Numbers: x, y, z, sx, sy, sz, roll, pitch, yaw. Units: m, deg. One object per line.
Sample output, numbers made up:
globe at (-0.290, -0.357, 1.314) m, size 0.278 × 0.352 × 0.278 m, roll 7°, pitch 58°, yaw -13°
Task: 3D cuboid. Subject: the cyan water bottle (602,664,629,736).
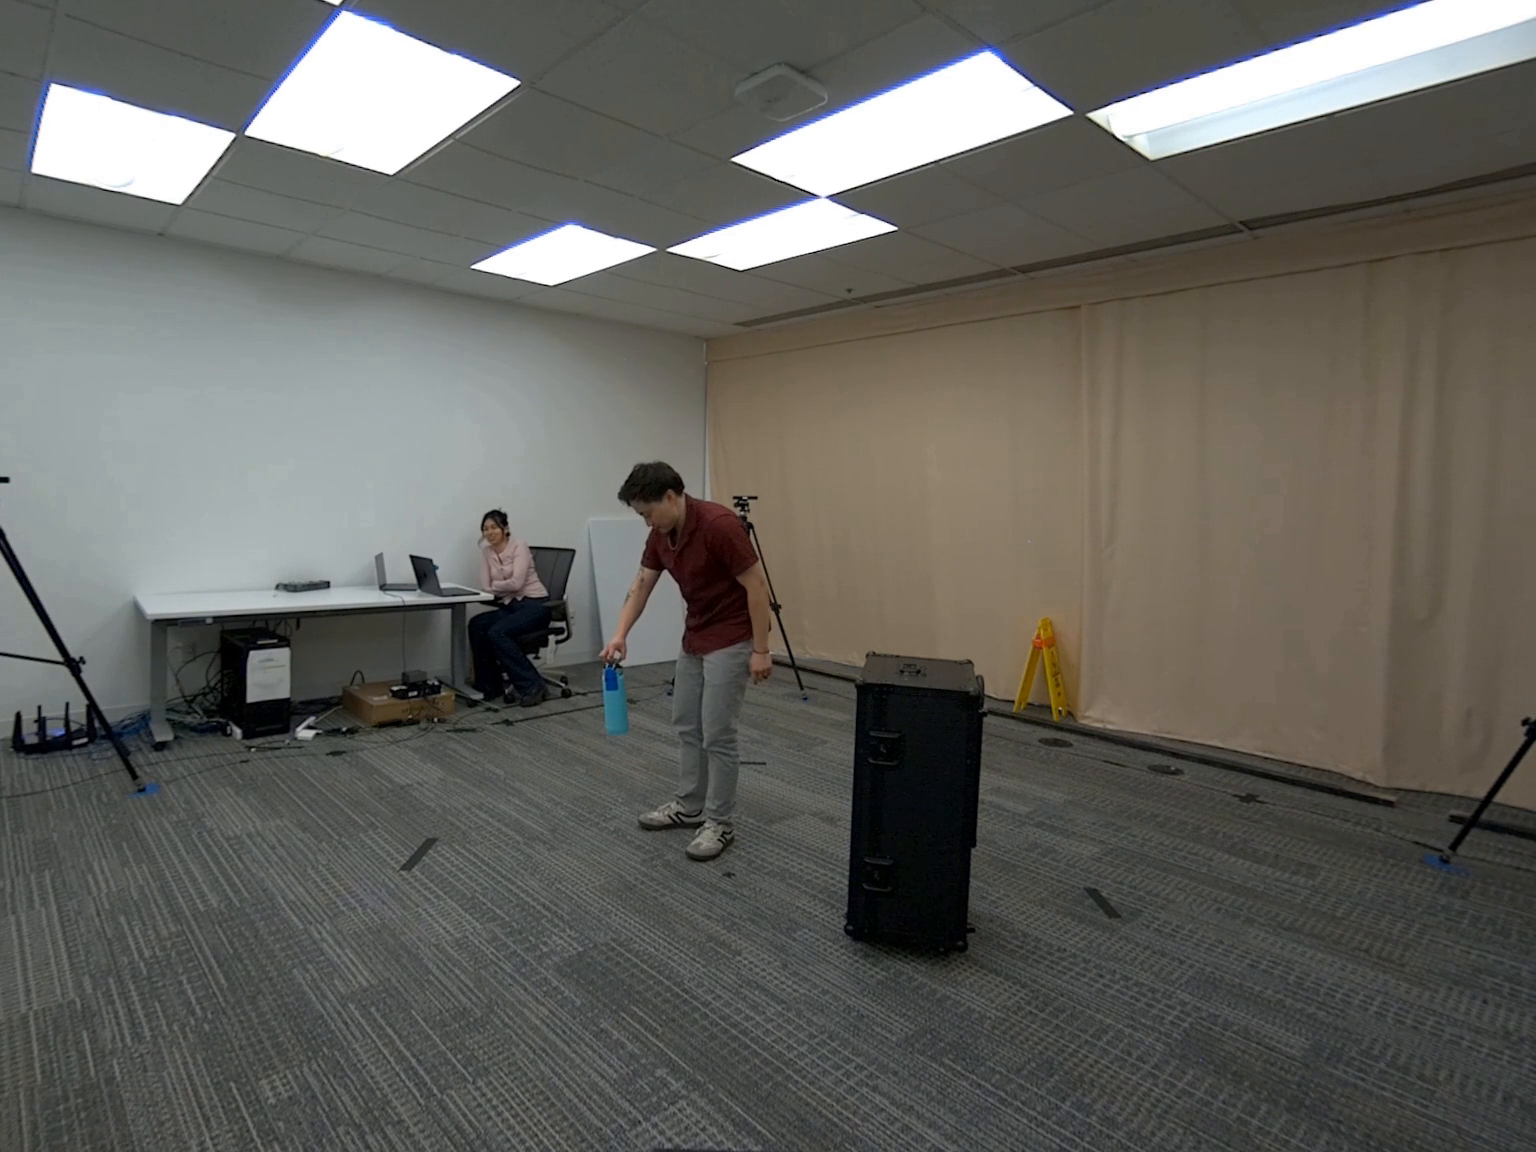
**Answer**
cyan water bottle at (-0.600, 0.470, 3.267) m, size 0.092 × 0.282 × 0.093 m, roll 0°, pitch 5°, yaw -1°
